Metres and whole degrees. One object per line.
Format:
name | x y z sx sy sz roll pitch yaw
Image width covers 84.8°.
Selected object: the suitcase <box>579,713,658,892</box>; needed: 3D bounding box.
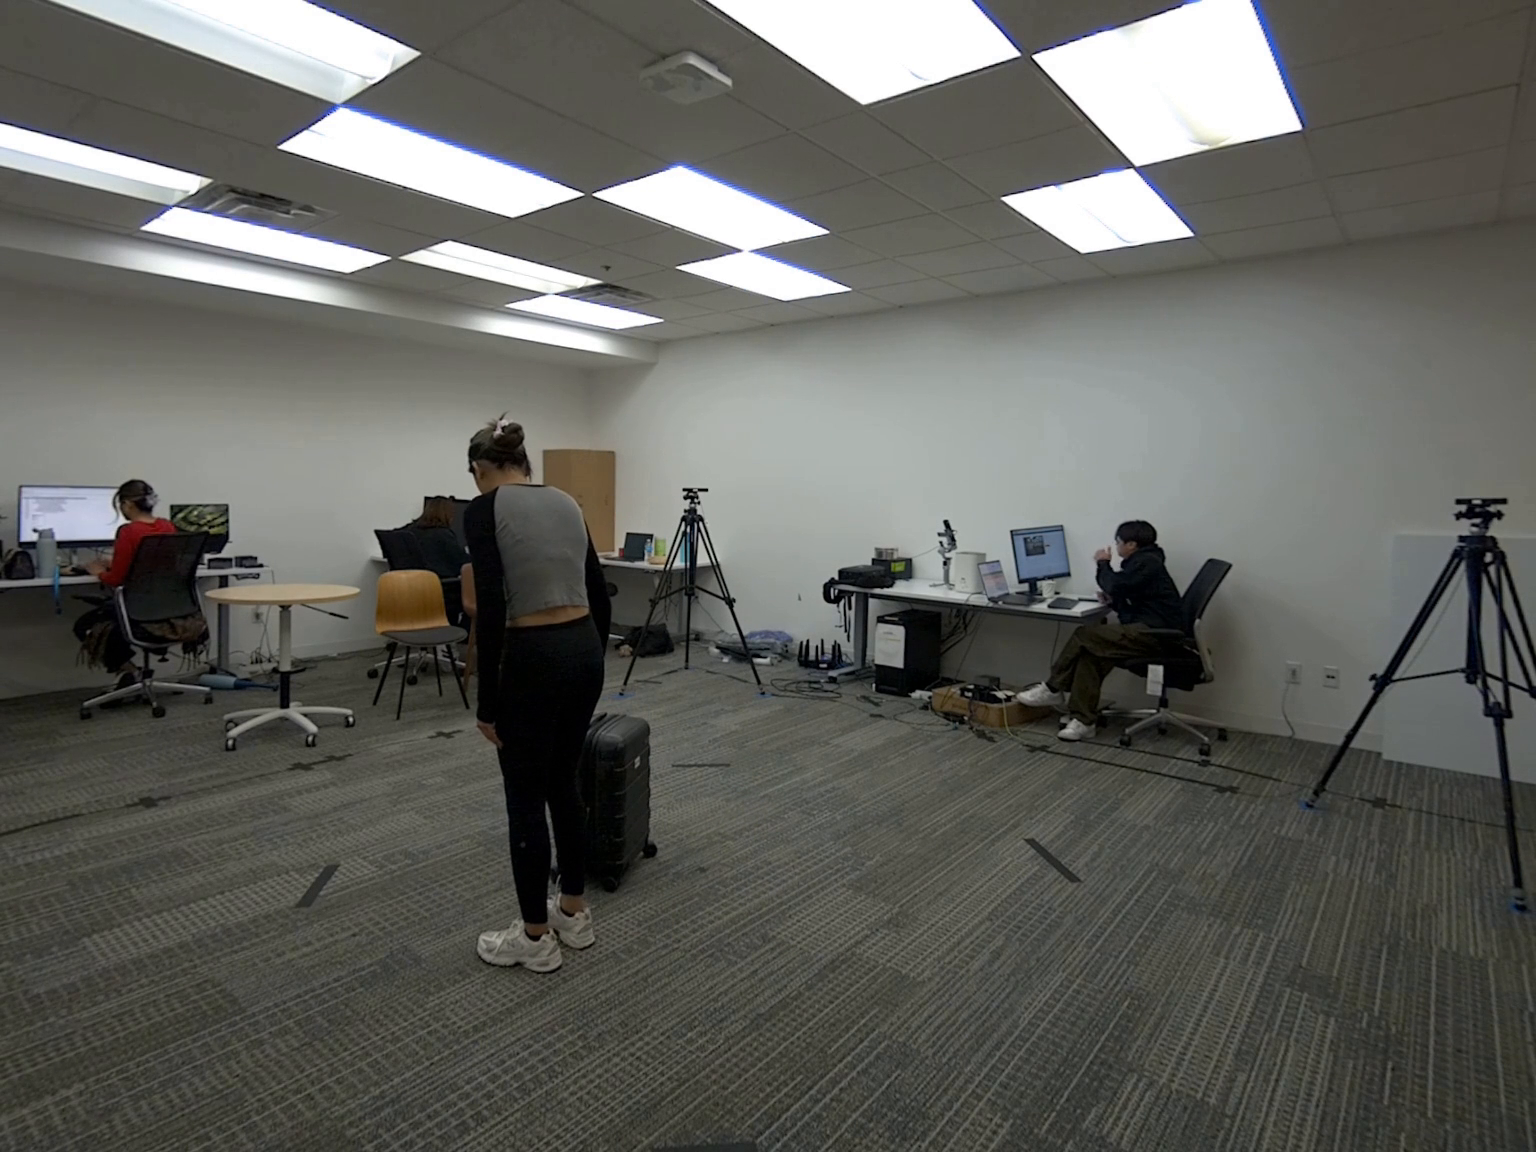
suitcase | -0.598 0.790 3.081 0.252 0.548 0.371 3 3 12
